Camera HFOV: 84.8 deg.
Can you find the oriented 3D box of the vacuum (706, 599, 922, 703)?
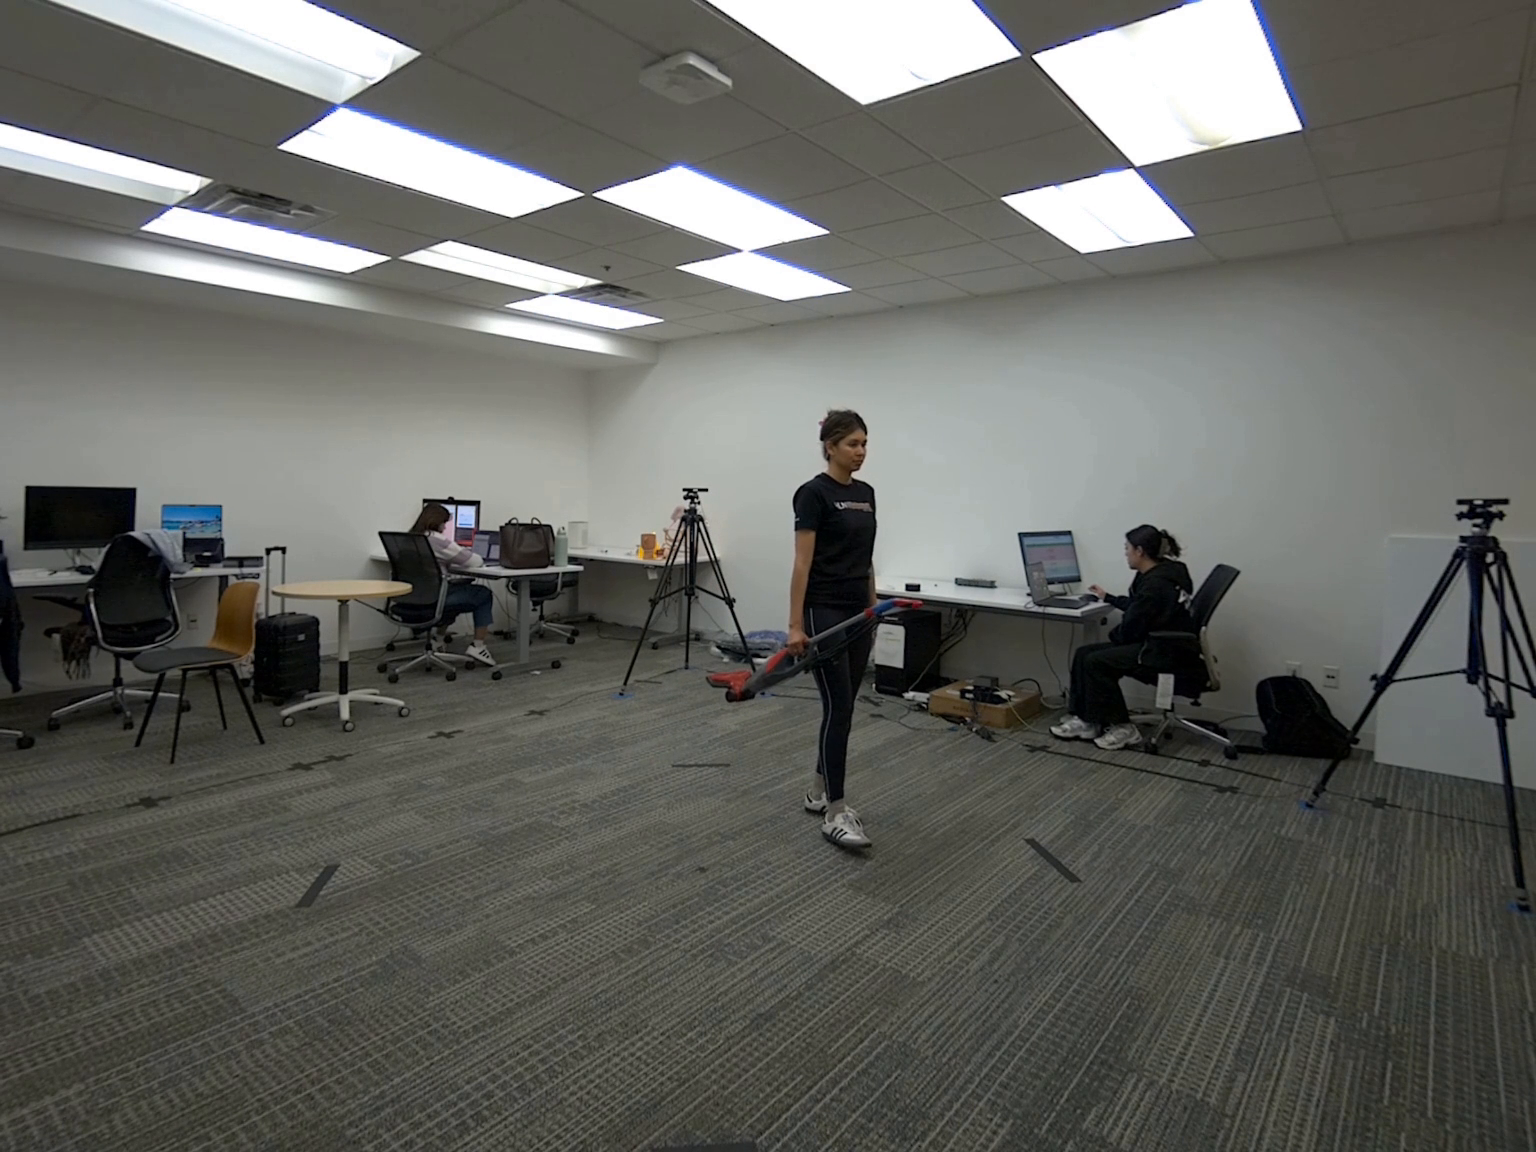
[{"bbox_3d":[0.180,0.290,3.318,0.244,0.147,1.062,4,-24,-42],"label":"vacuum"}]
